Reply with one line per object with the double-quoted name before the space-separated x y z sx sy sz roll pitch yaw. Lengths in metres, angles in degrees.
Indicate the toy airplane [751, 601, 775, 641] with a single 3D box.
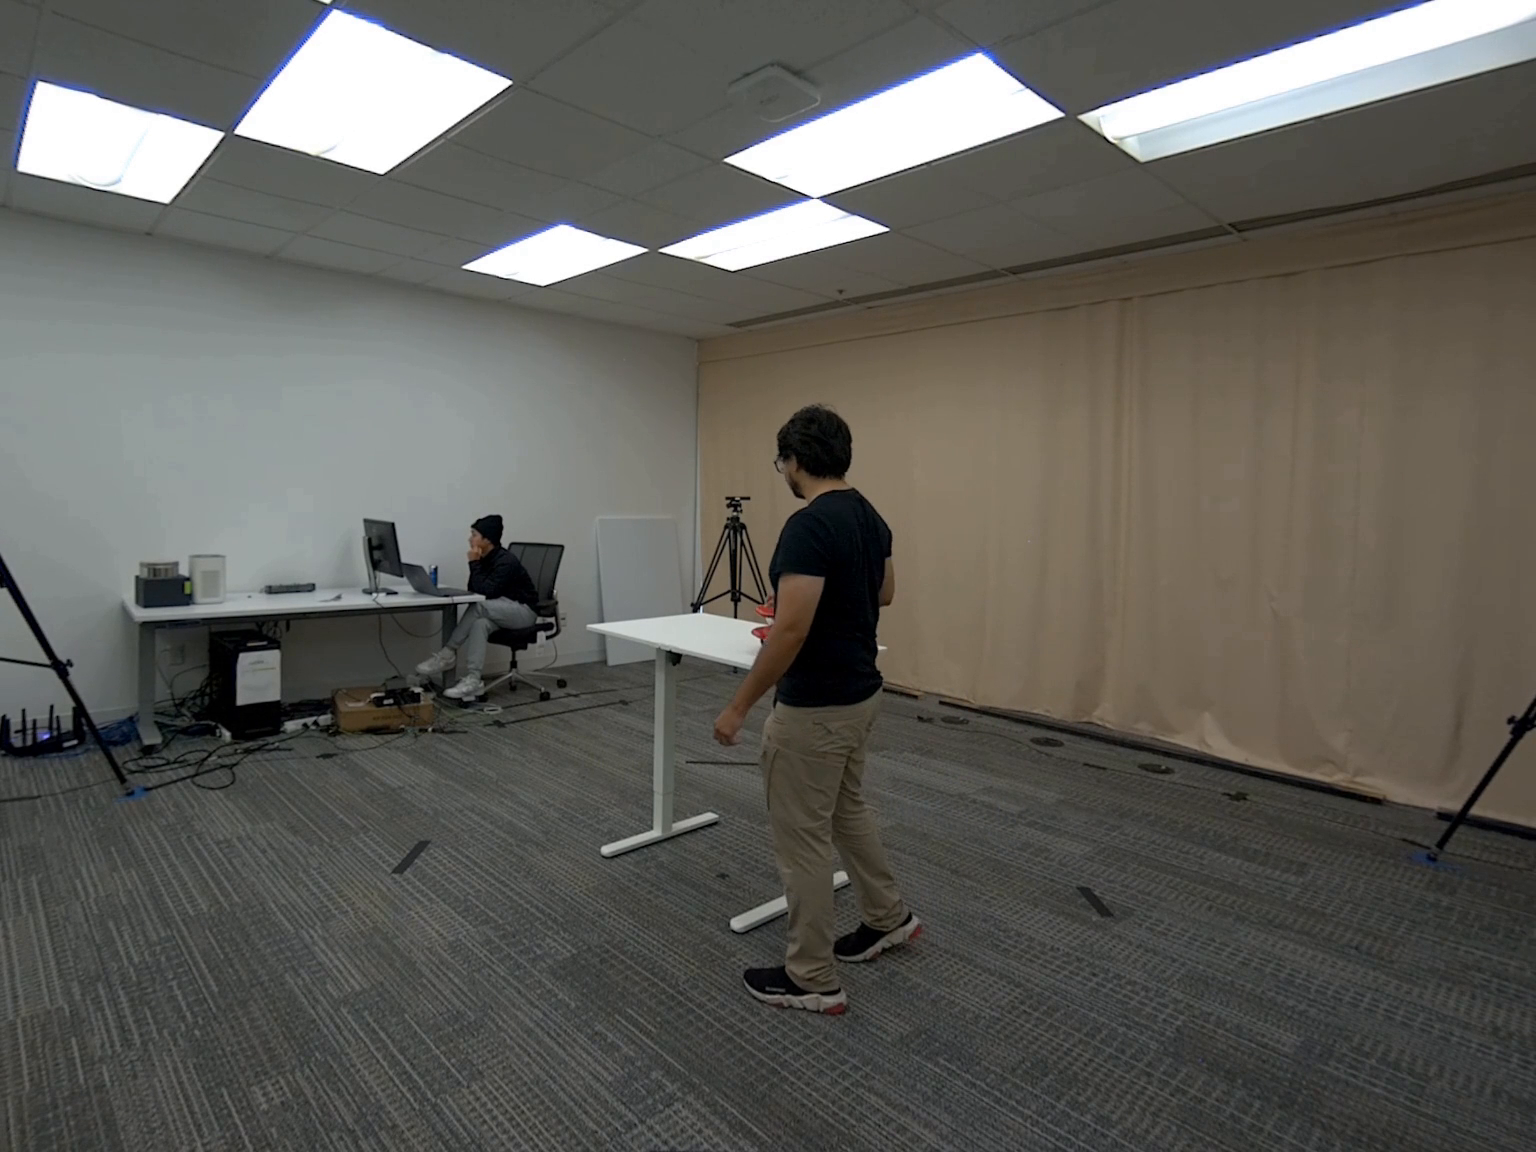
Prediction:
"toy airplane" 0.091 0.180 2.847 0.264 0.156 0.247 3 6 26
